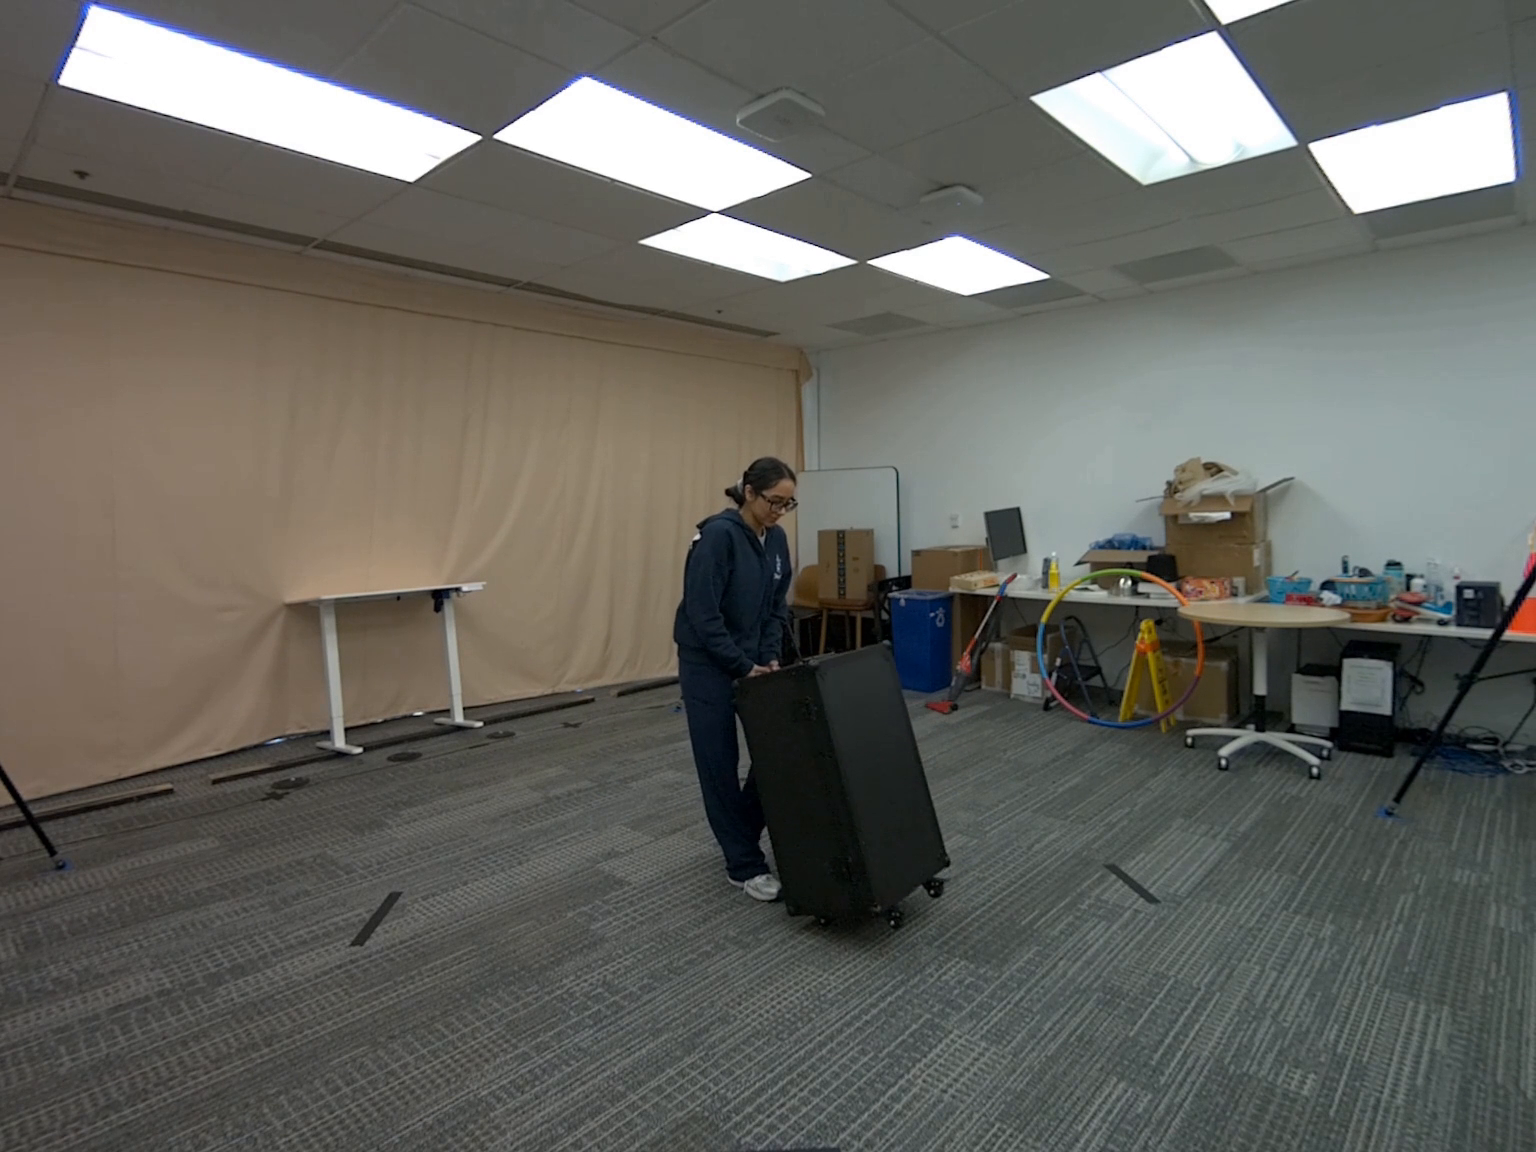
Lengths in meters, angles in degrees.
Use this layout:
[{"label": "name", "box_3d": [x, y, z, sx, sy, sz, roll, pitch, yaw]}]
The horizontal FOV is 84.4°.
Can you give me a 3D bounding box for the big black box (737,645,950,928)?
[{"label": "big black box", "box_3d": [0.253, 0.712, 2.868, 0.405, 0.868, 0.506, -22, -10, 38]}]
